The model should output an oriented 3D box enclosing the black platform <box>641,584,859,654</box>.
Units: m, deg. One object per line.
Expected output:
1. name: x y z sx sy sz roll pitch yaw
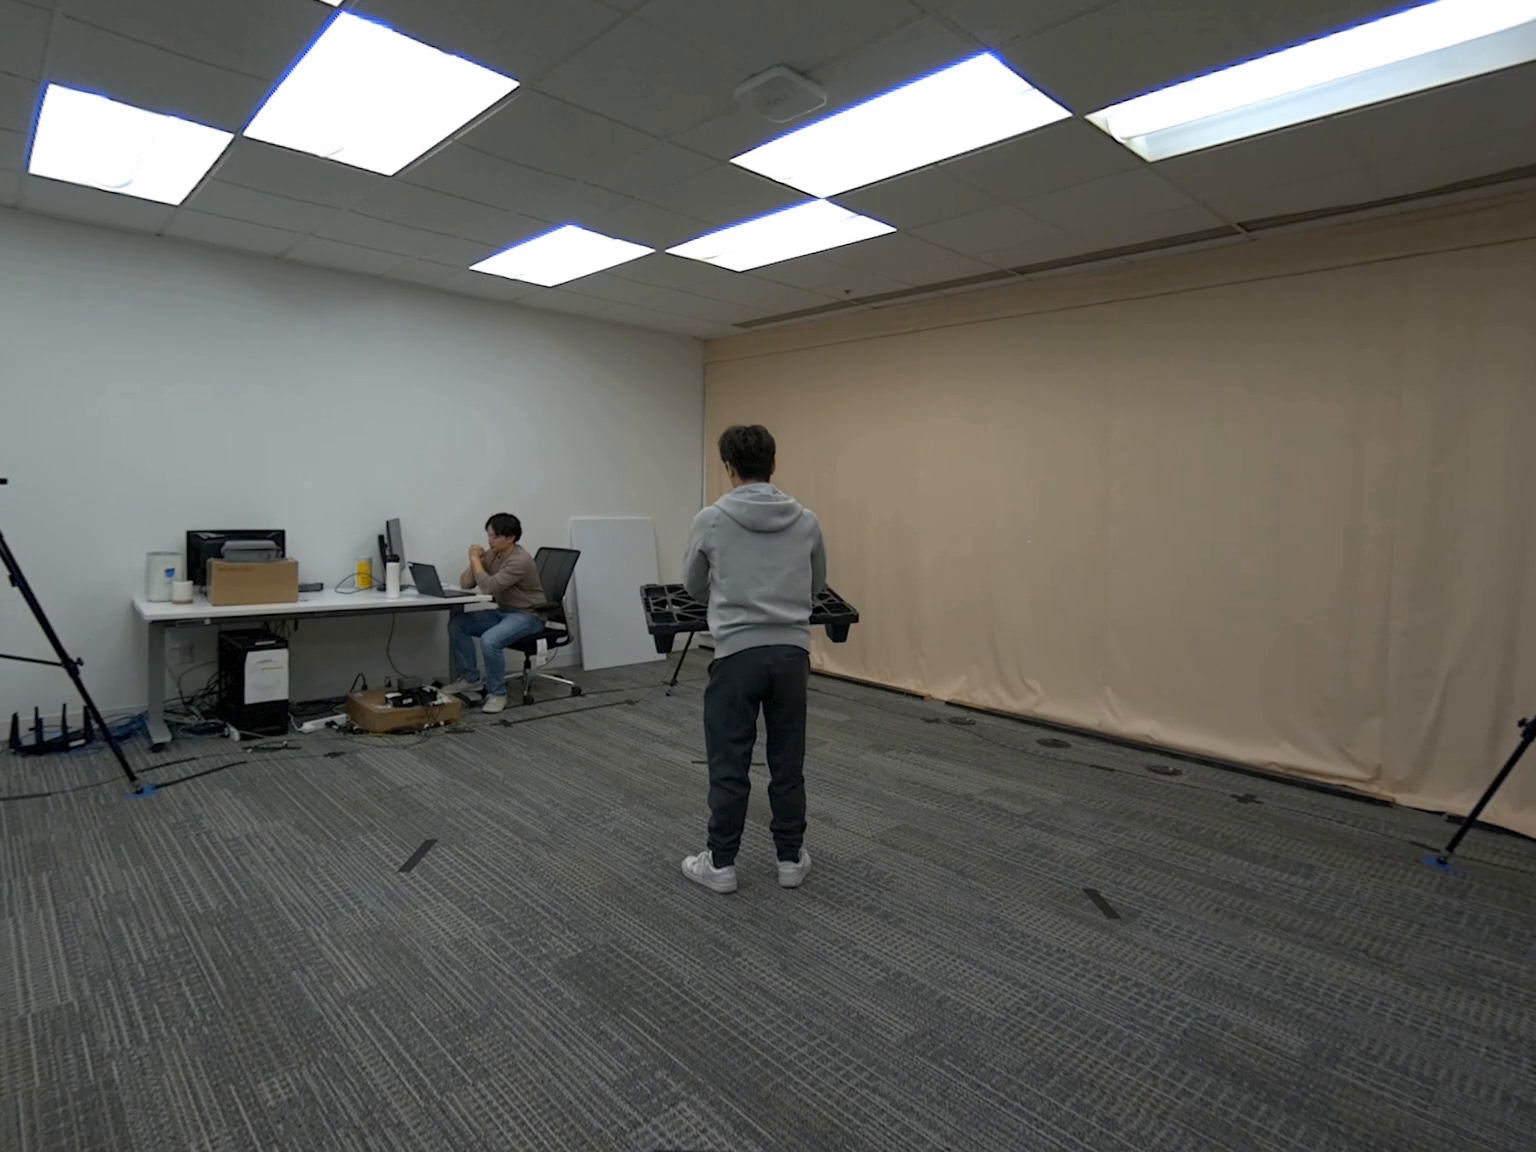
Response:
1. black platform: -0.116 0.165 3.419 0.800 0.142 0.615 -3 14 -9
